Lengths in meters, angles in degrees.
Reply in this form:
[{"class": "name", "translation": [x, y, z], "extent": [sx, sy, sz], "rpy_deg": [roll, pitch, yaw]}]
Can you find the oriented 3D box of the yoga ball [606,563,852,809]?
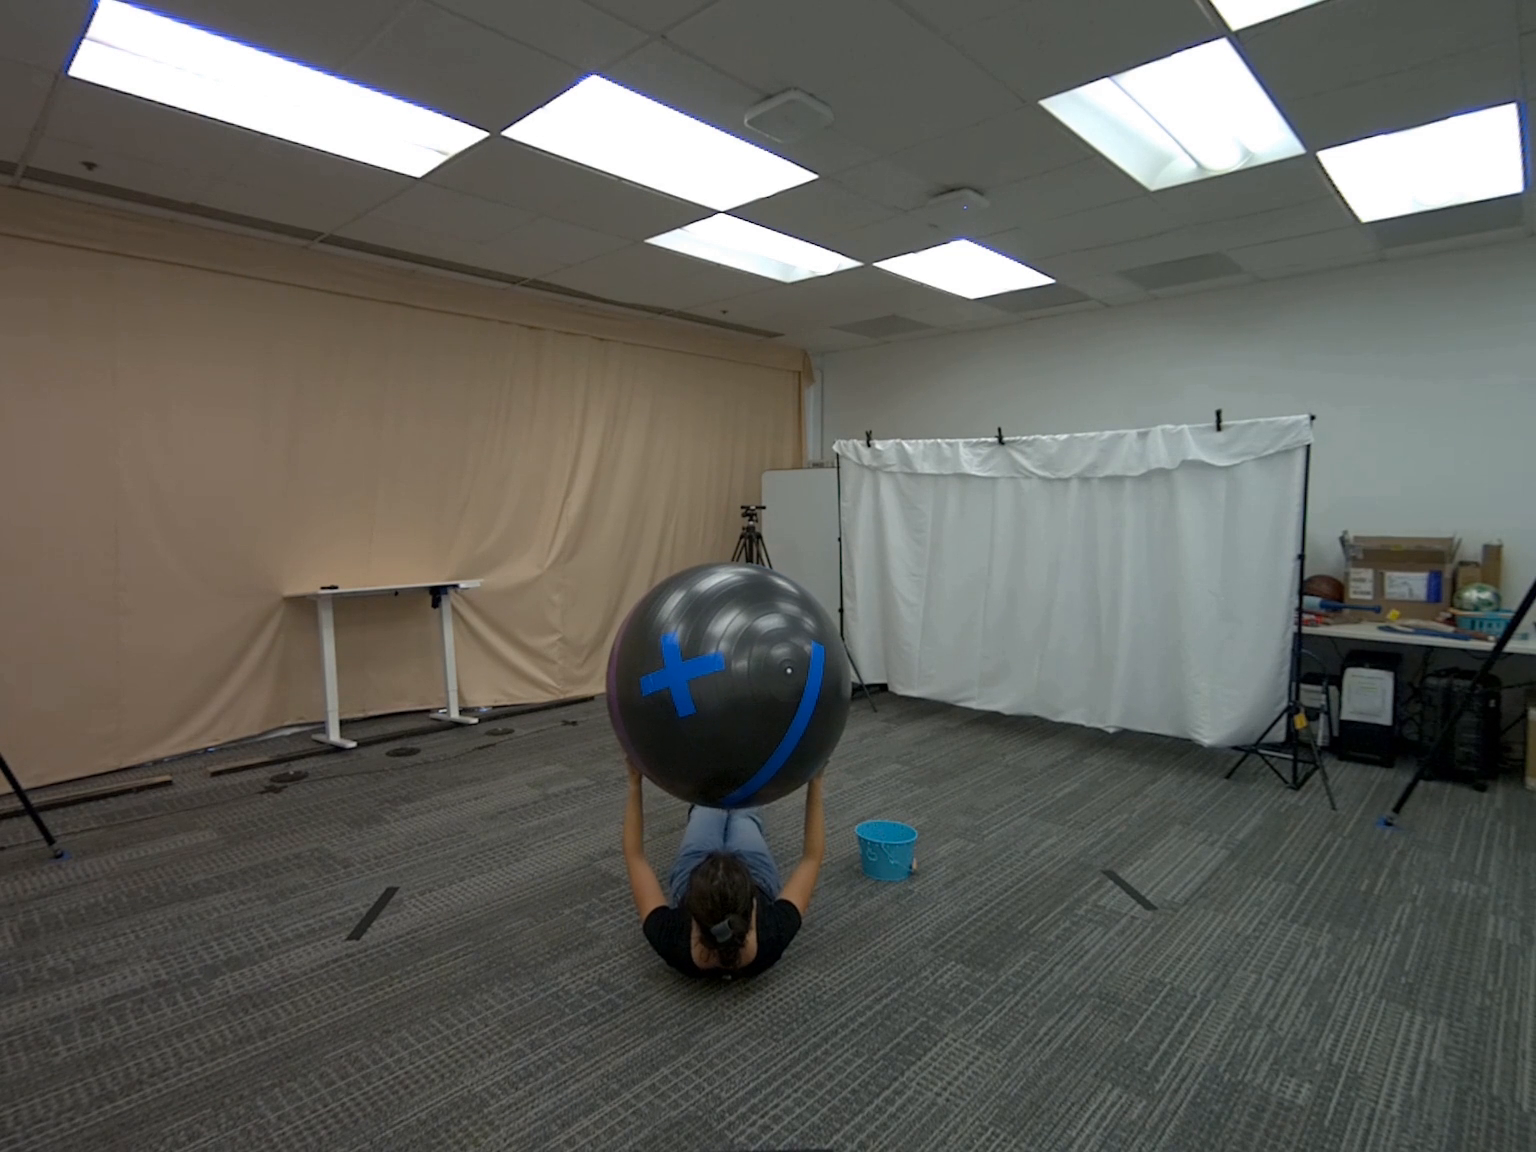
[{"class": "yoga ball", "translation": [-0.119, 0.338, 2.625], "extent": [0.757, 0.756, 0.760], "rpy_deg": [0, 4, -2]}]
